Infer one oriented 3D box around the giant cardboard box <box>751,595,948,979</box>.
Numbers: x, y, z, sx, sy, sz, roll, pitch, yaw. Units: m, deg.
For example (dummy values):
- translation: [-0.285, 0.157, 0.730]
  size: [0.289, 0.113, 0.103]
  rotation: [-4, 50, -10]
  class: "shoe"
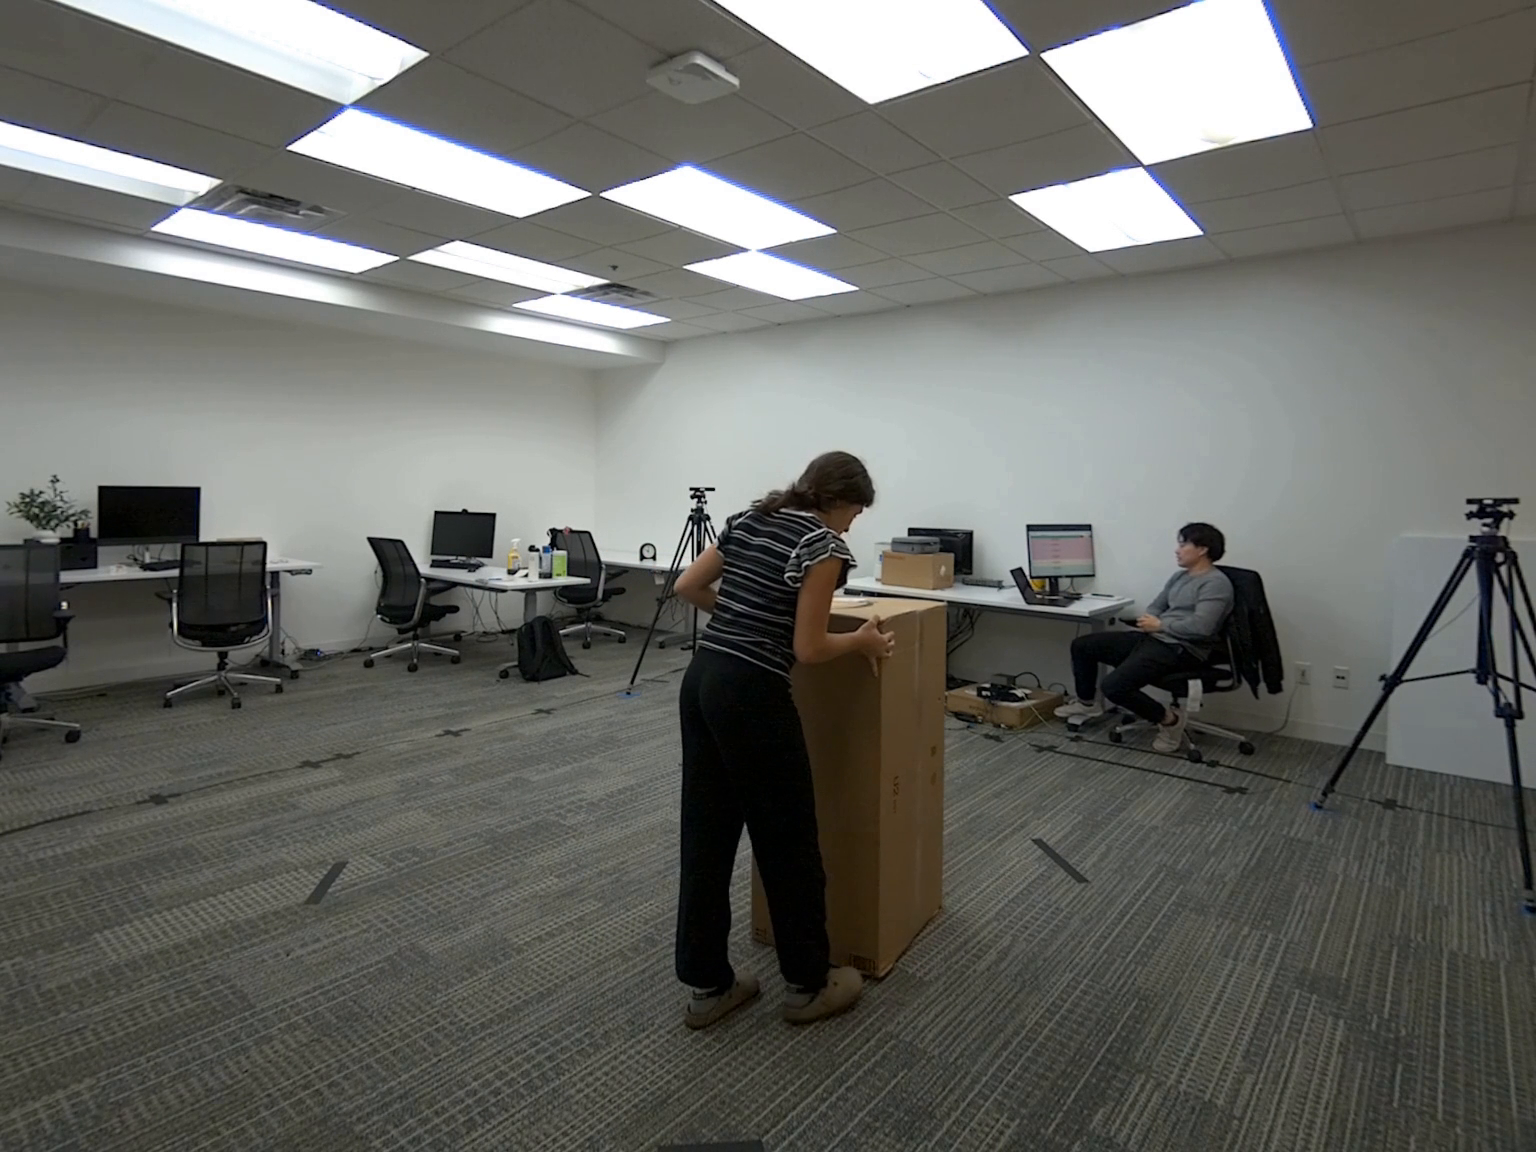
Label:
- translation: [0.267, 0.606, 2.739]
  size: [0.439, 1.024, 0.562]
  rotation: [2, 3, 31]
  class: "giant cardboard box"
